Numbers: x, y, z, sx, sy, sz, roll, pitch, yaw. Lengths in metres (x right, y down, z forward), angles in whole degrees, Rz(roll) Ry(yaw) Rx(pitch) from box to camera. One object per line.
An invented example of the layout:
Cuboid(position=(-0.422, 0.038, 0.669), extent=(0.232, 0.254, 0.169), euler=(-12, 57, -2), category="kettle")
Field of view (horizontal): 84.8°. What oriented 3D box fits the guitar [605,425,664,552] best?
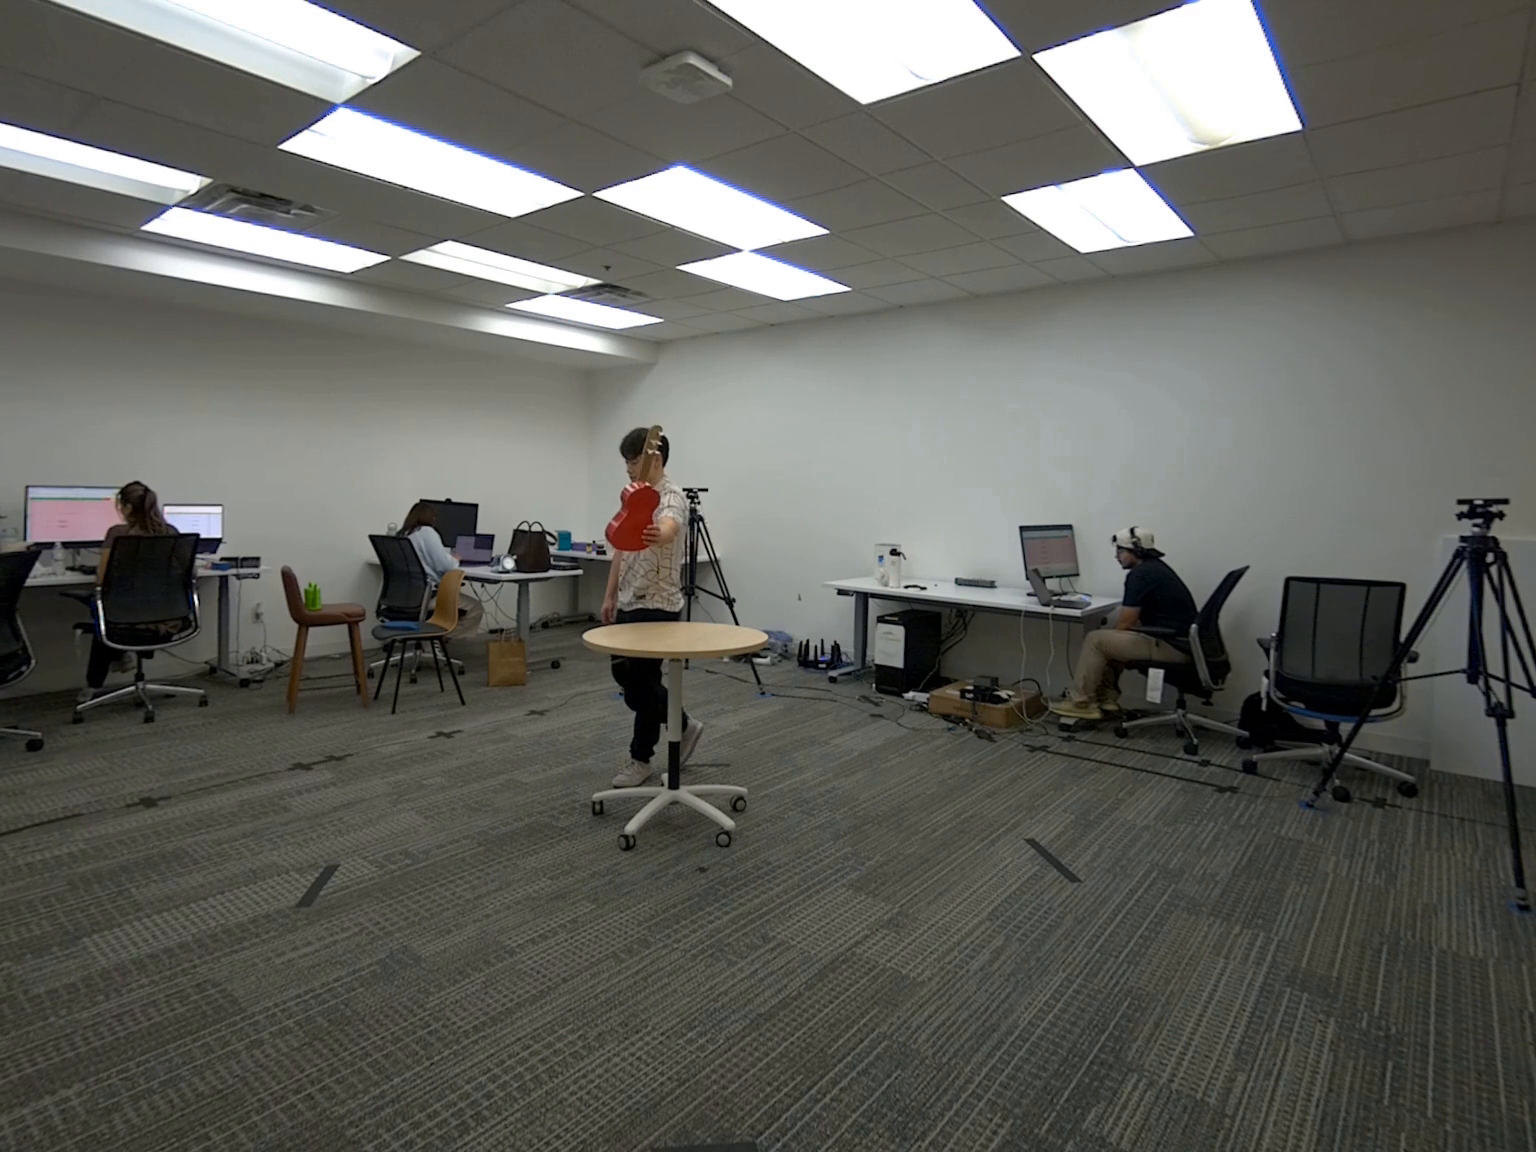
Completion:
Cuboid(position=(-0.515, -0.329, 3.237), extent=(0.188, 0.490, 0.074), euler=(-6, 29, -35), category="guitar")
